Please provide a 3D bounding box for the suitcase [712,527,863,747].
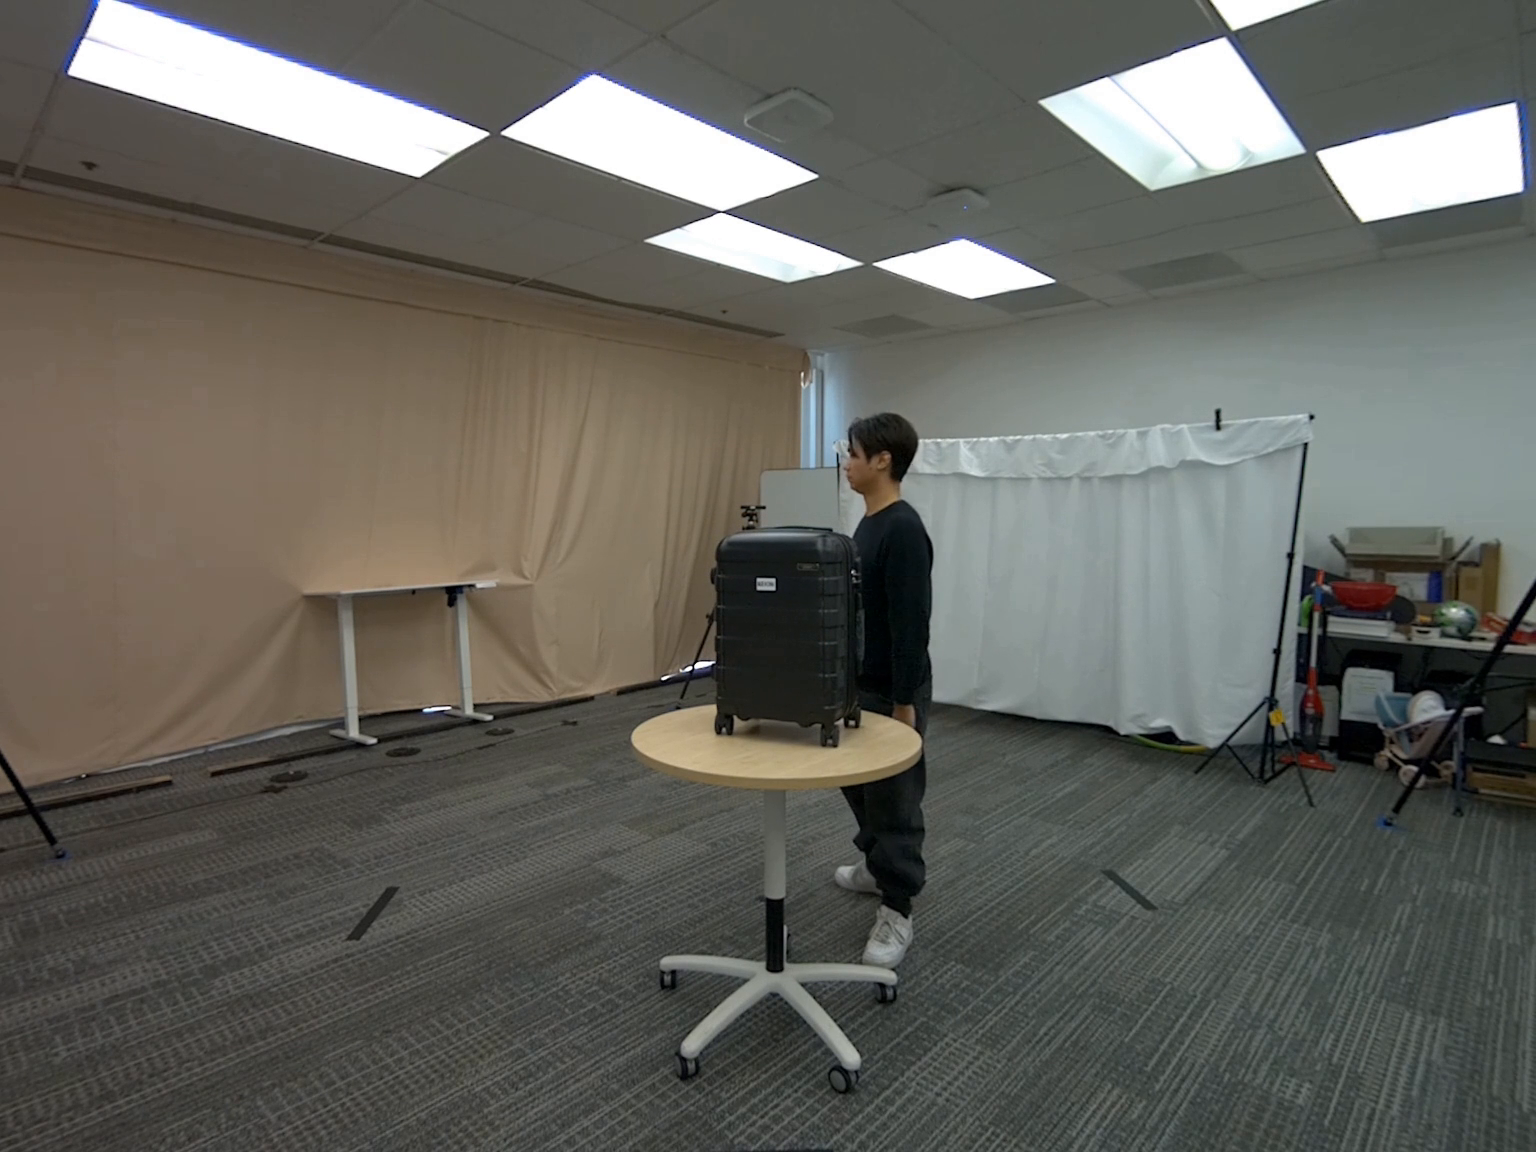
[{"bbox_3d":[0.059,0.145,2.250,0.385,0.548,0.243,2,5,23],"label":"suitcase"}]
